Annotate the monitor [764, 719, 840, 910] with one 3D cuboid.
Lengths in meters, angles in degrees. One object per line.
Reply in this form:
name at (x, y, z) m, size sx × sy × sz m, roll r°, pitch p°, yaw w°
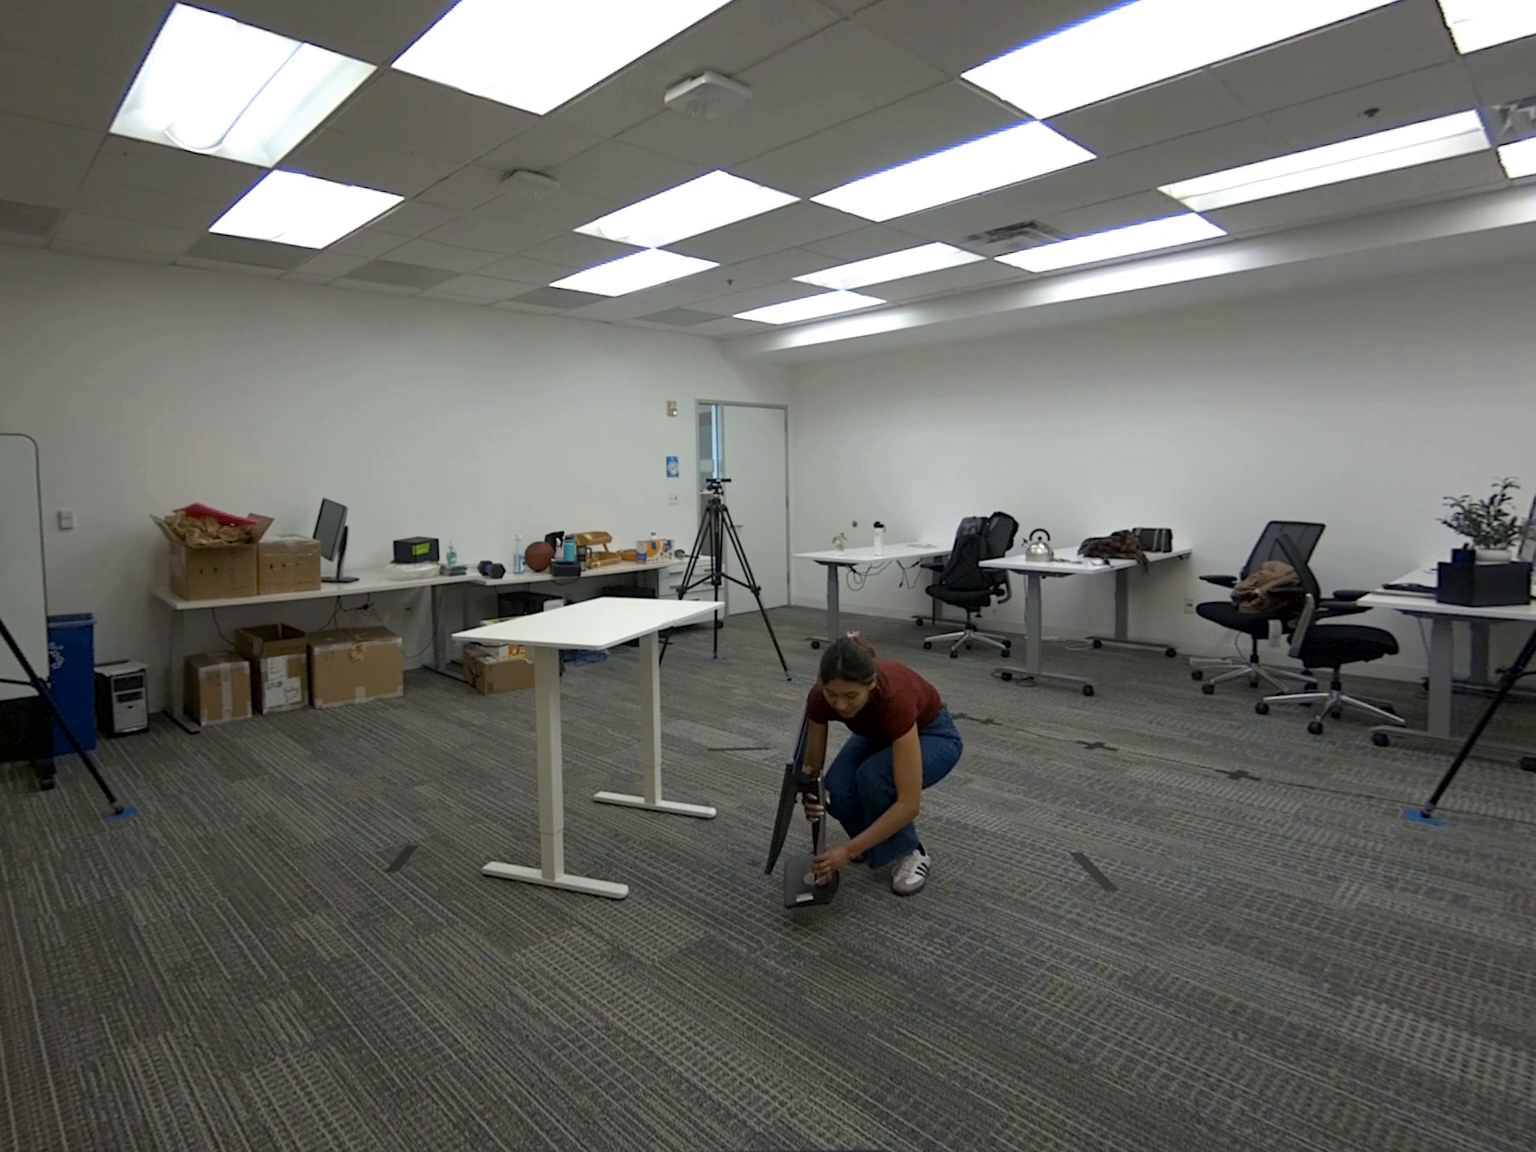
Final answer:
monitor at (0.117, 0.752, 2.714) m, size 0.189 × 0.519 × 0.537 m, roll -3°, pitch 7°, yaw 9°
